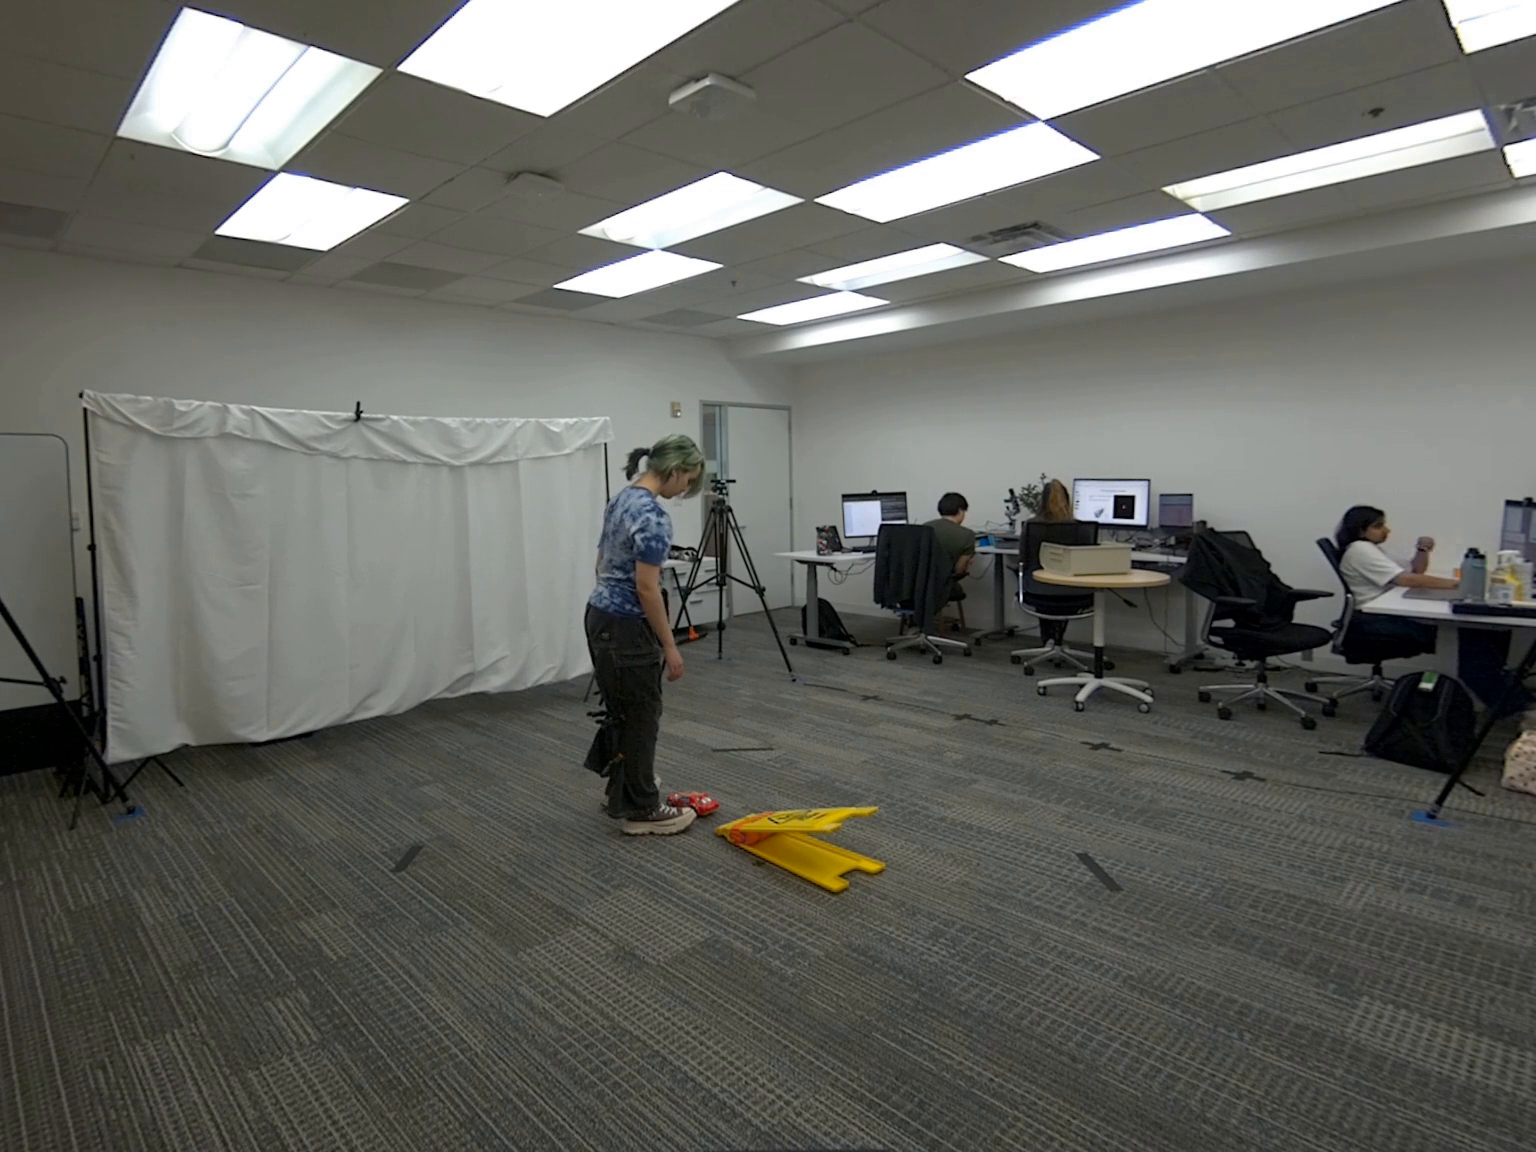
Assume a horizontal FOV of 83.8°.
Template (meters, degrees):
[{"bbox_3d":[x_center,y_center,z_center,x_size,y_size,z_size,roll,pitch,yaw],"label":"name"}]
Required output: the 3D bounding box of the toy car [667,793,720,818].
[{"bbox_3d":[-0.316,0.966,3.615,0.260,0.083,0.127,-12,-5,44],"label":"toy car"}]
